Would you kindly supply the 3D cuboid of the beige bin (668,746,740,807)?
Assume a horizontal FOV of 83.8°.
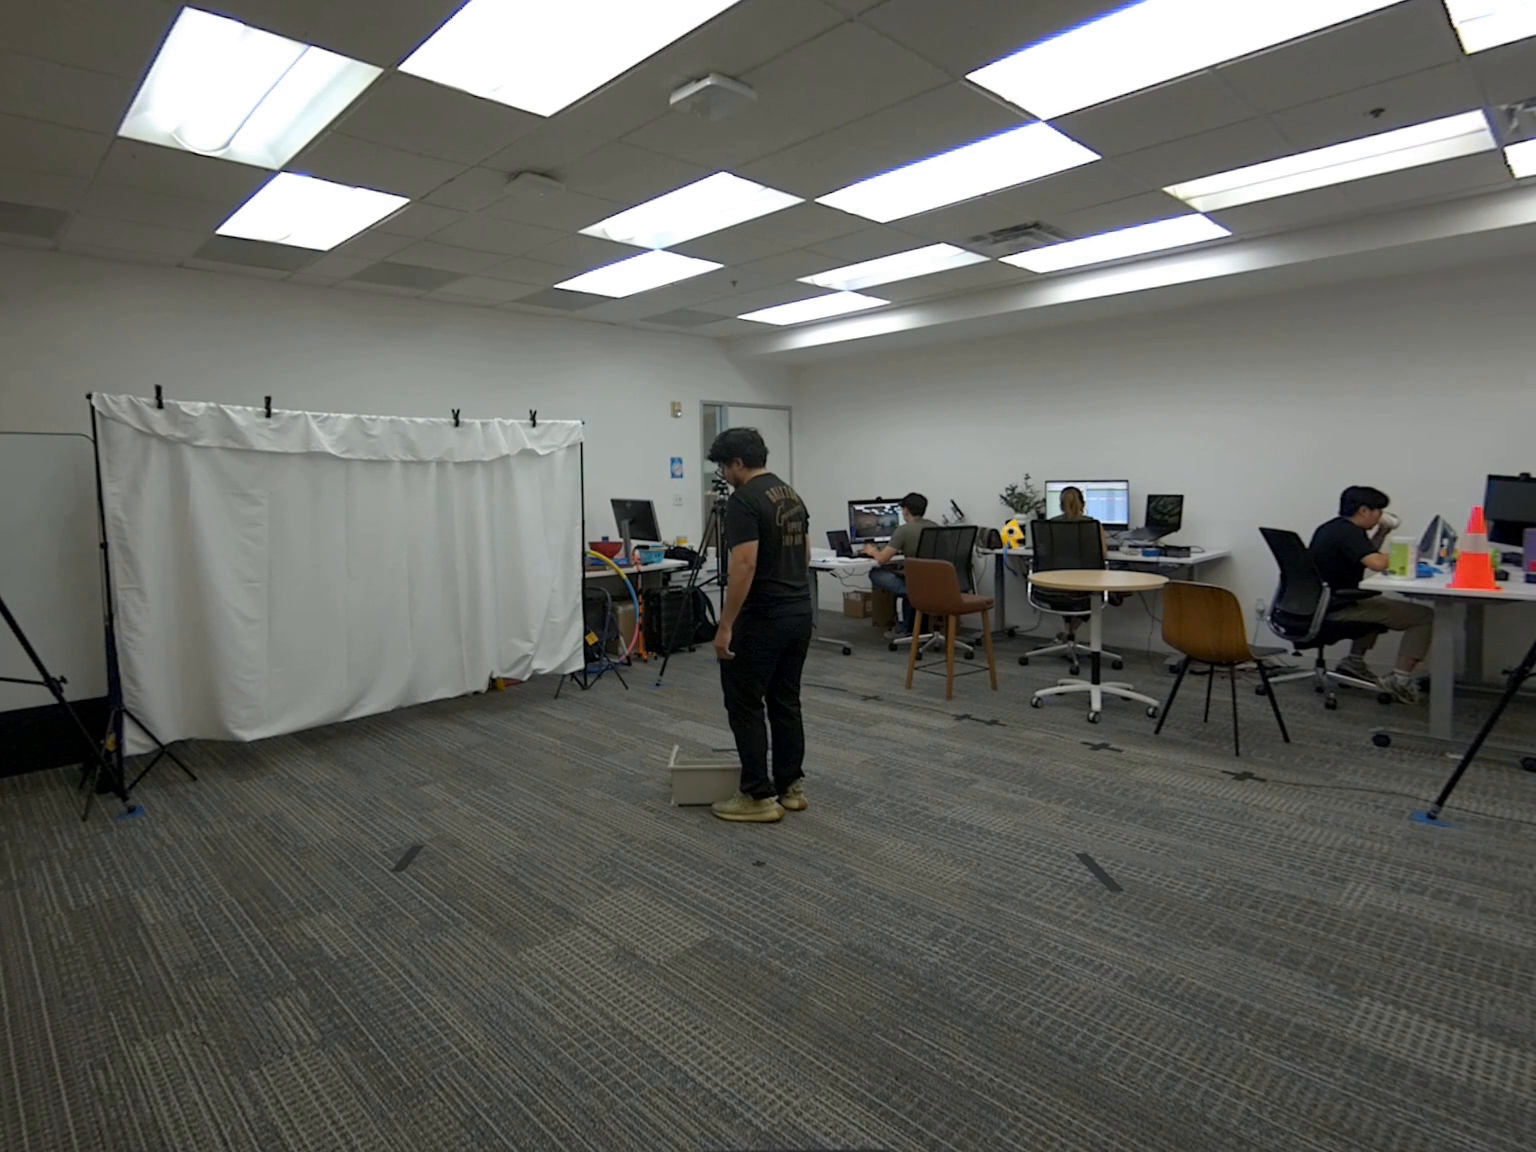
[{"bbox_3d":[-0.223,0.886,3.848,0.423,0.188,0.378,-1,6,1],"label":"beige bin"}]
